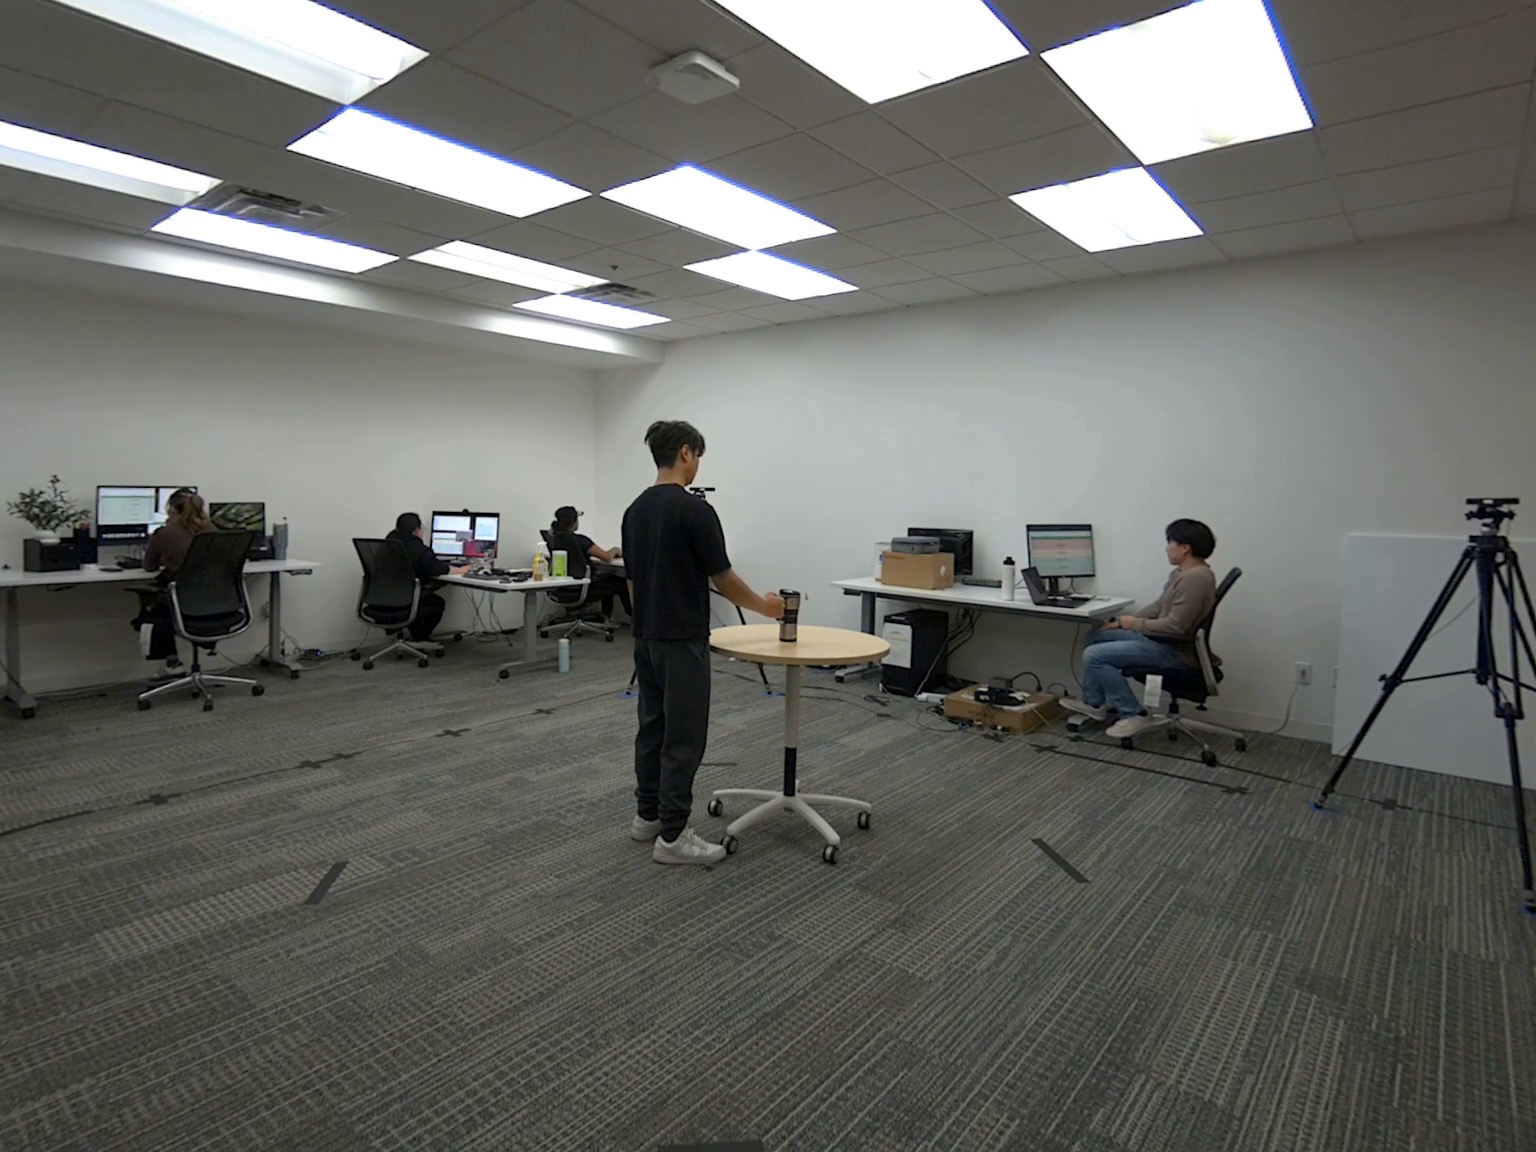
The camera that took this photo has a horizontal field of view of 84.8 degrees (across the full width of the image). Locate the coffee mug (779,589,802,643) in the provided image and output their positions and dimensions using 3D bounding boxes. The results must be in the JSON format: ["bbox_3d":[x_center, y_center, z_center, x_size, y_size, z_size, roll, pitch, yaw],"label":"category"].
[{"bbox_3d":[0.054,0.163,3.413,0.118,0.202,0.091,0,7,-35],"label":"coffee mug"}]
